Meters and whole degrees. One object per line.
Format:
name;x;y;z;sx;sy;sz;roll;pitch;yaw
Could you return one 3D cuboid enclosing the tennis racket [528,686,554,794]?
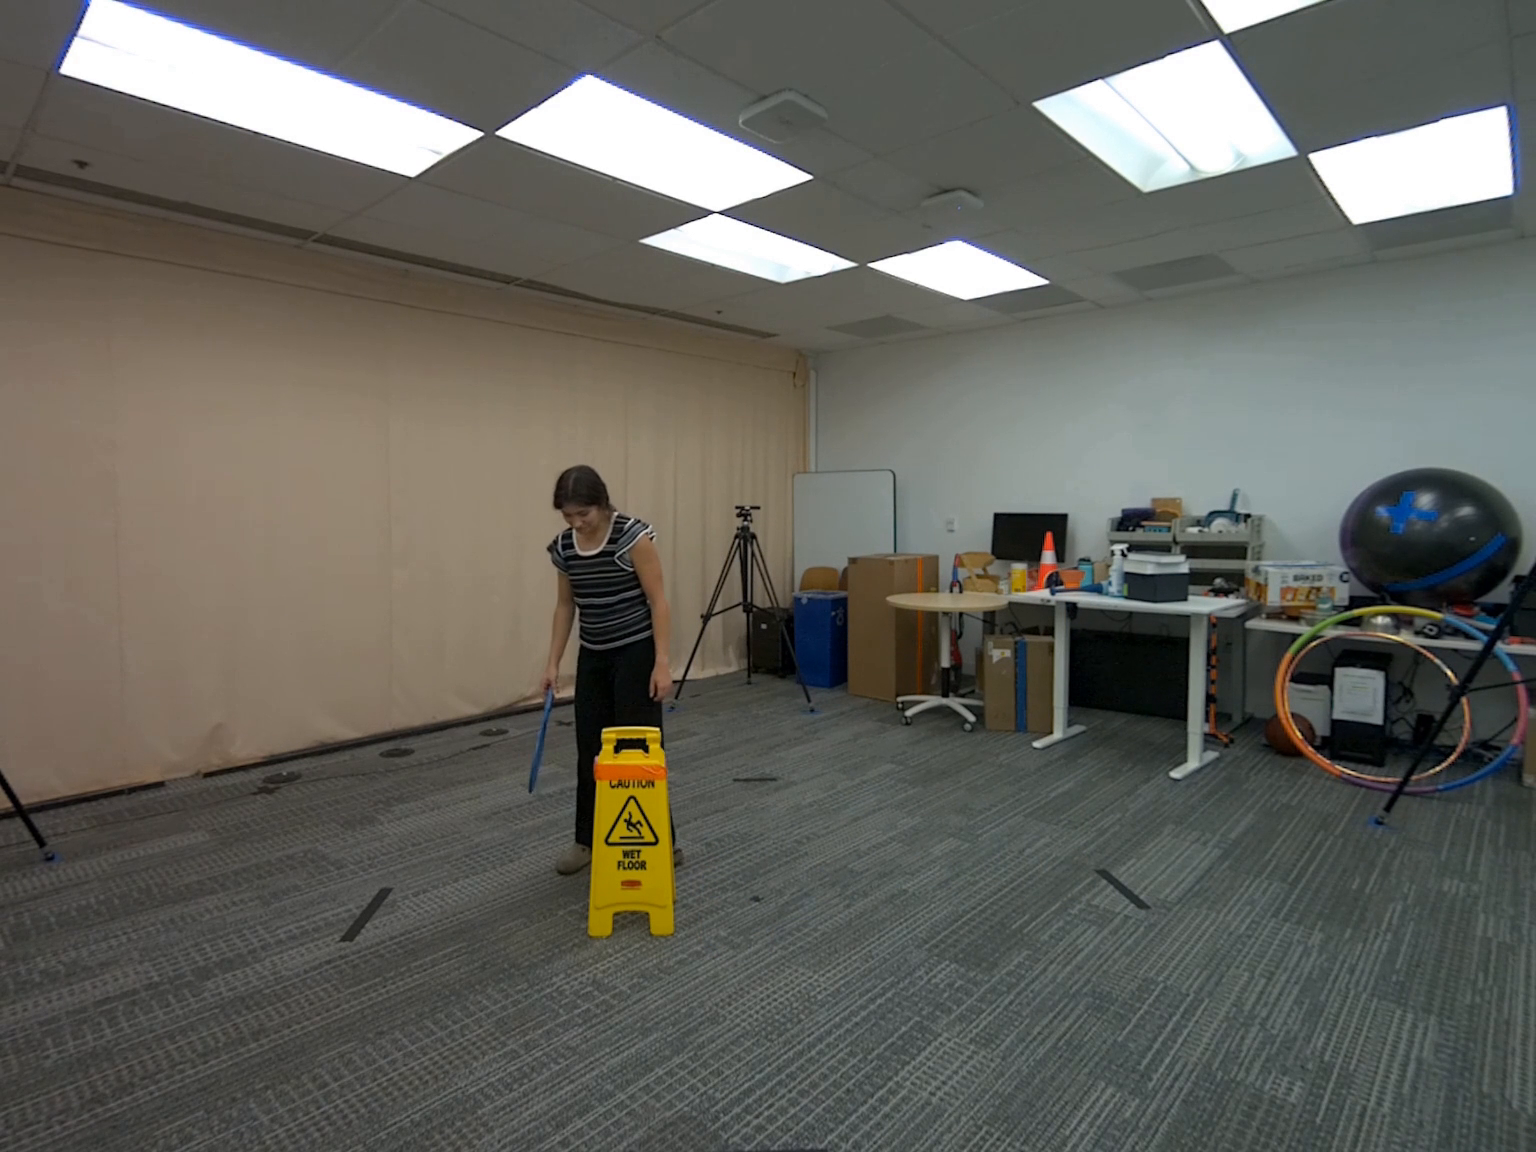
tennis racket;-0.833;0.593;3.157;0.031;0.438;0.212;9;-29;-6
